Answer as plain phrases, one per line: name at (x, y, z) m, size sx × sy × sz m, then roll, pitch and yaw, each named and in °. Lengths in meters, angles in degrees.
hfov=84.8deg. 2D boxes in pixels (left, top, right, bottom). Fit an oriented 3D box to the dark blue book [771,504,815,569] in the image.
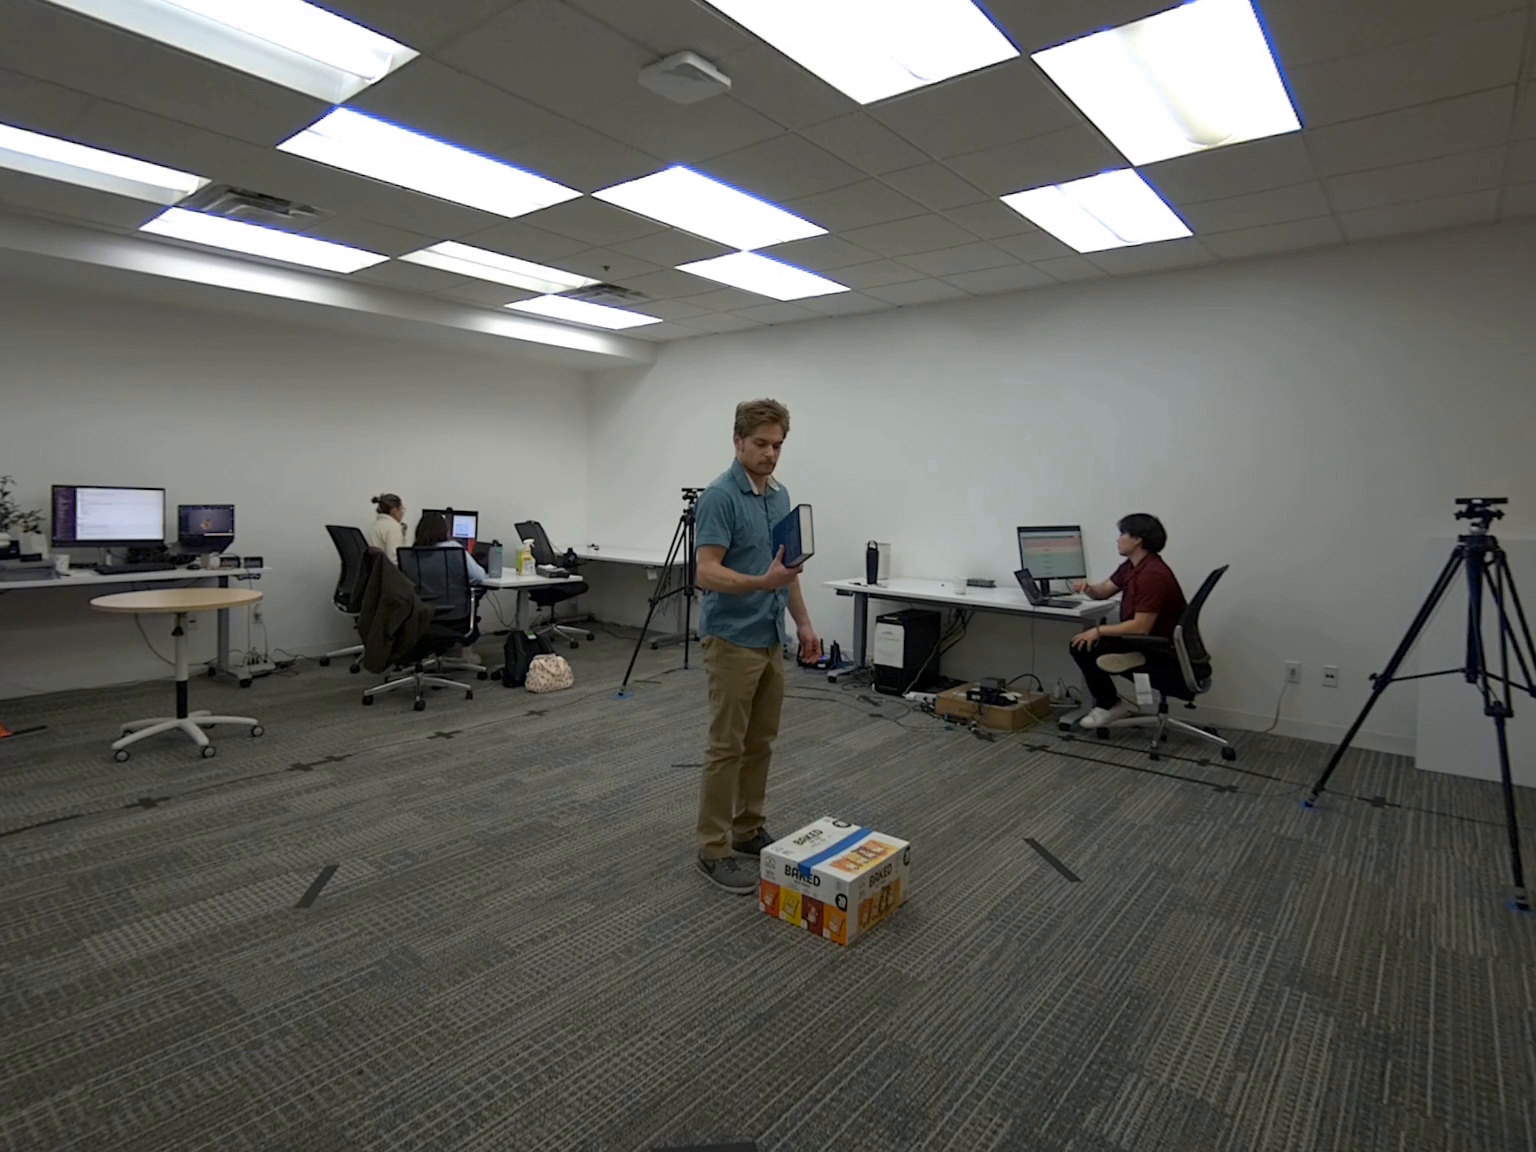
dark blue book at (0.069, -0.116, 2.707) m, size 0.045 × 0.166 × 0.244 m, roll 2°, pitch -16°, yaw -12°
